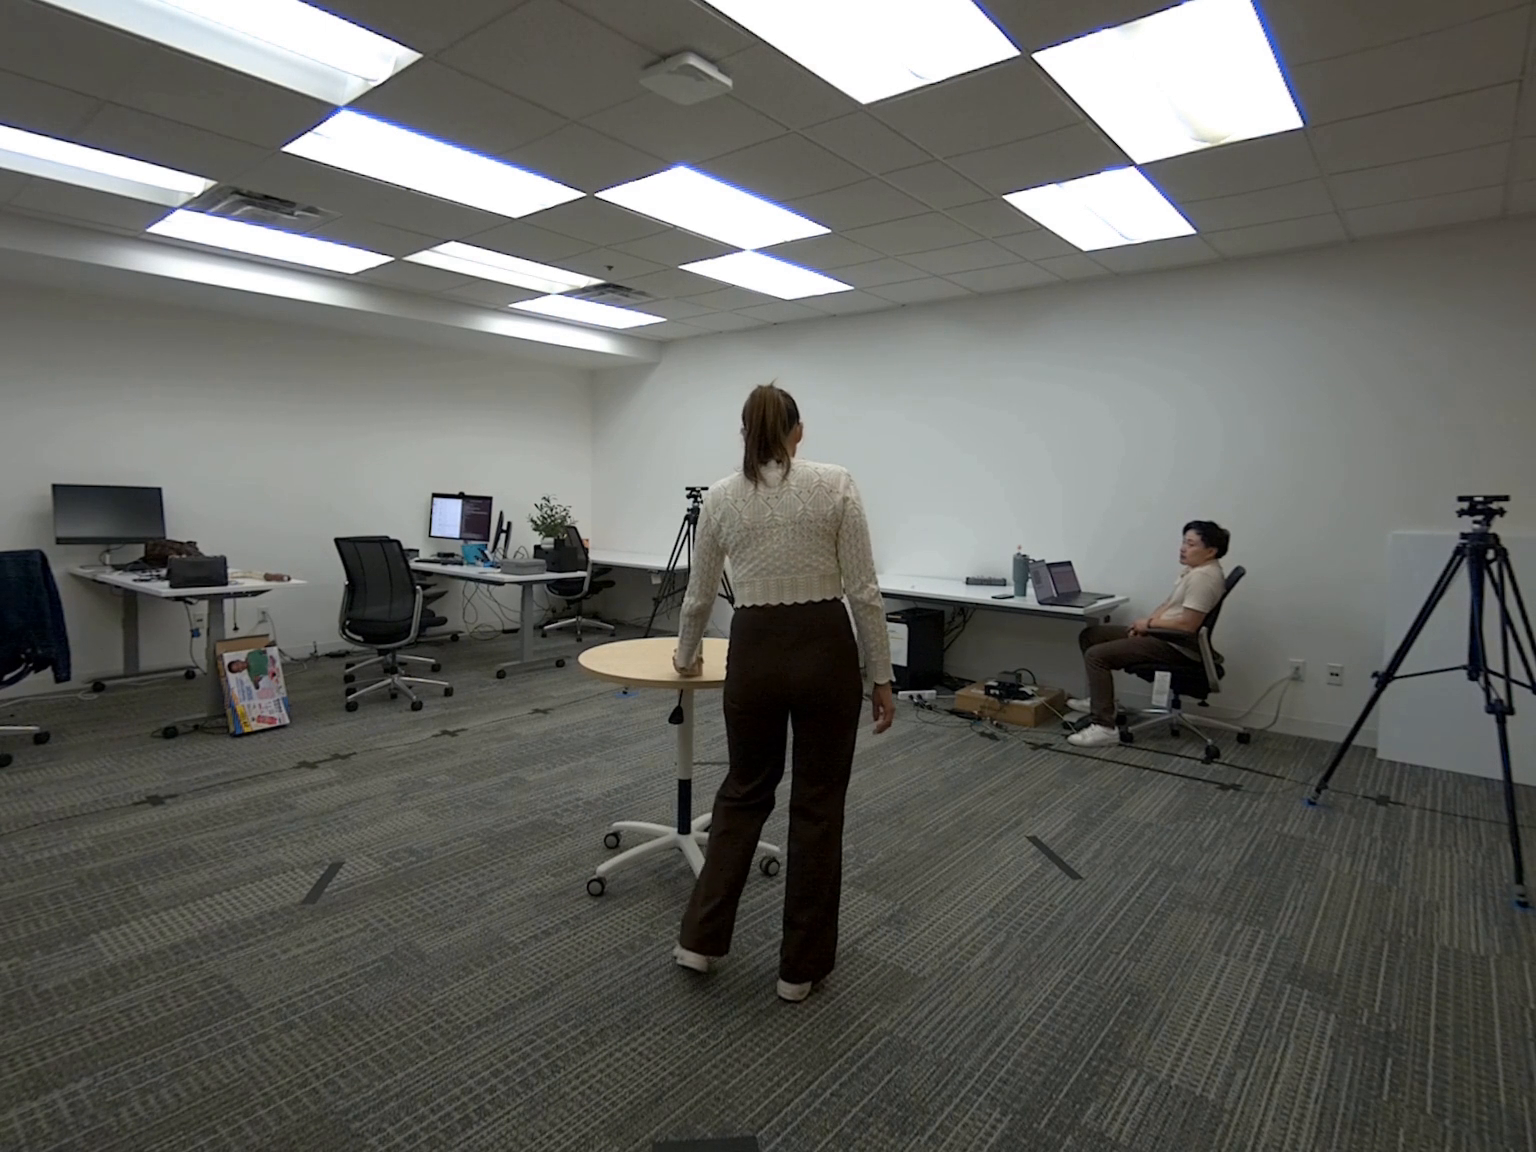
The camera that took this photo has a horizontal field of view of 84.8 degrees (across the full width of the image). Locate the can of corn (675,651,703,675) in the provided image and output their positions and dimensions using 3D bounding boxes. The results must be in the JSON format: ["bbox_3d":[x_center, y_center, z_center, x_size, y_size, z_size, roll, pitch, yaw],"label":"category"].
[{"bbox_3d":[-0.252,0.268,2.751,0.074,0.110,0.075,-3,8,-1],"label":"can of corn"}]
